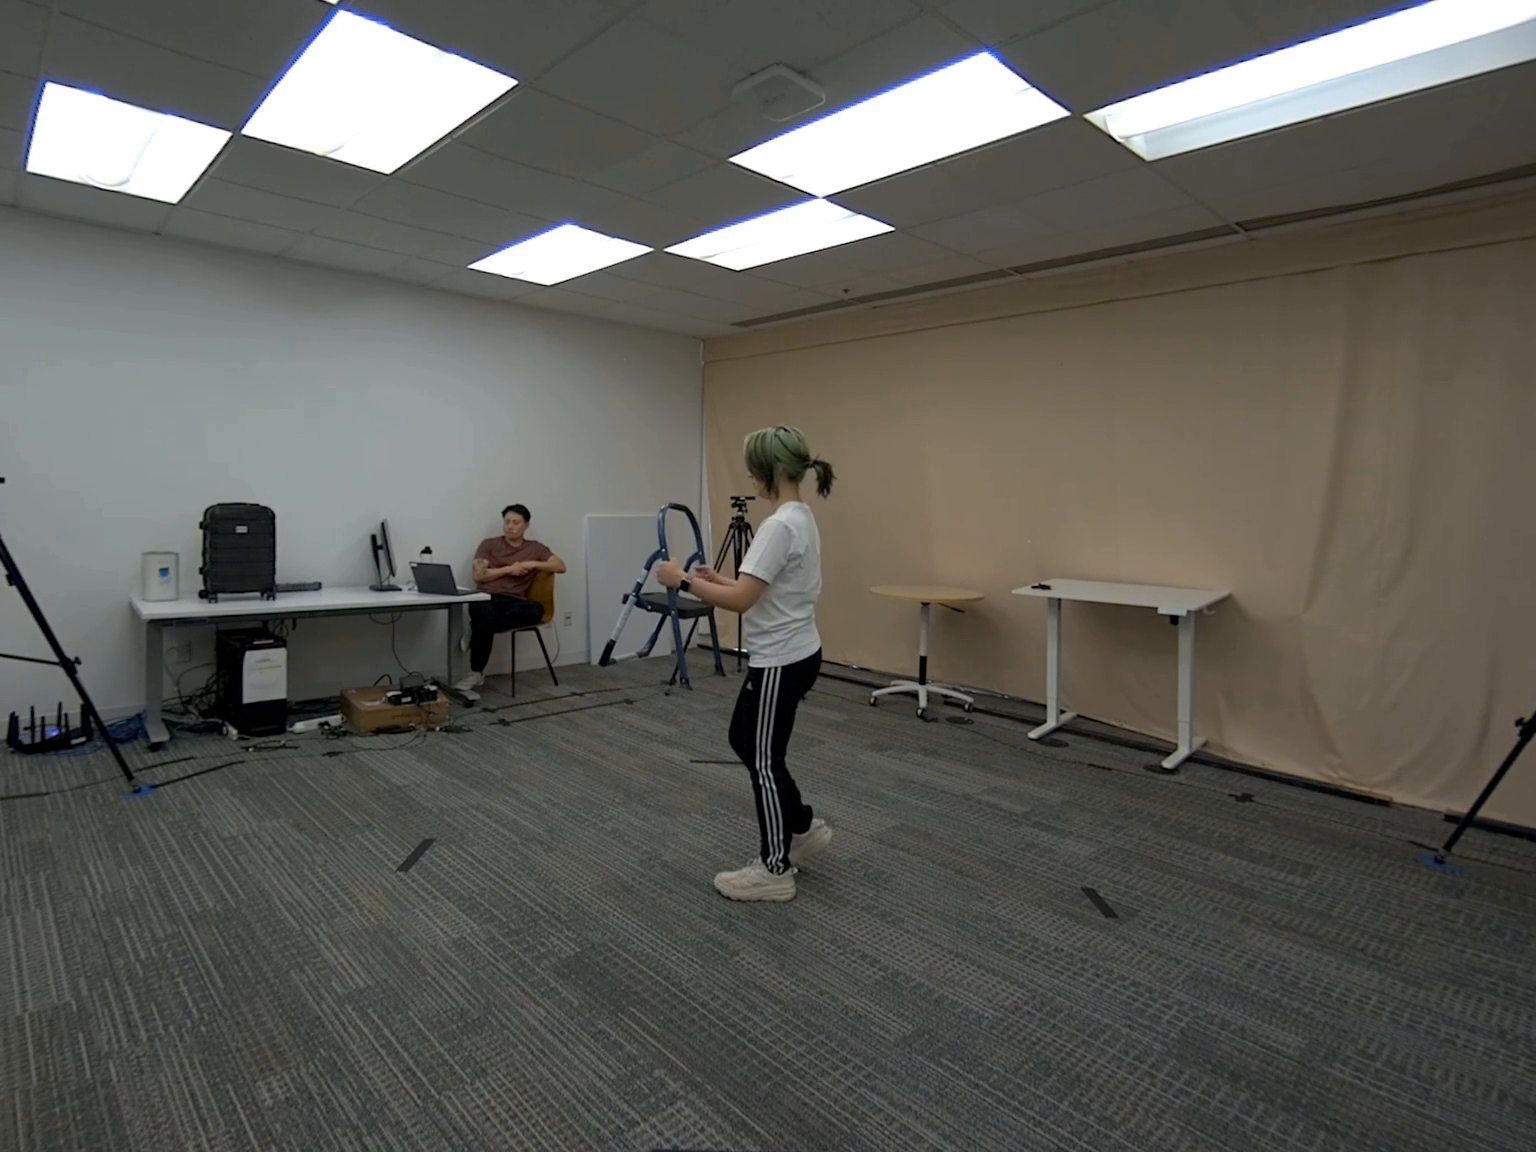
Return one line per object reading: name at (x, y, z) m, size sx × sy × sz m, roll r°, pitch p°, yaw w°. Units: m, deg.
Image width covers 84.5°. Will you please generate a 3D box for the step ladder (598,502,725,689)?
step ladder at (-0.320, 0.049, 3.060) m, size 0.354 × 0.605 × 0.425 m, roll 11°, pitch 2°, yaw 14°
